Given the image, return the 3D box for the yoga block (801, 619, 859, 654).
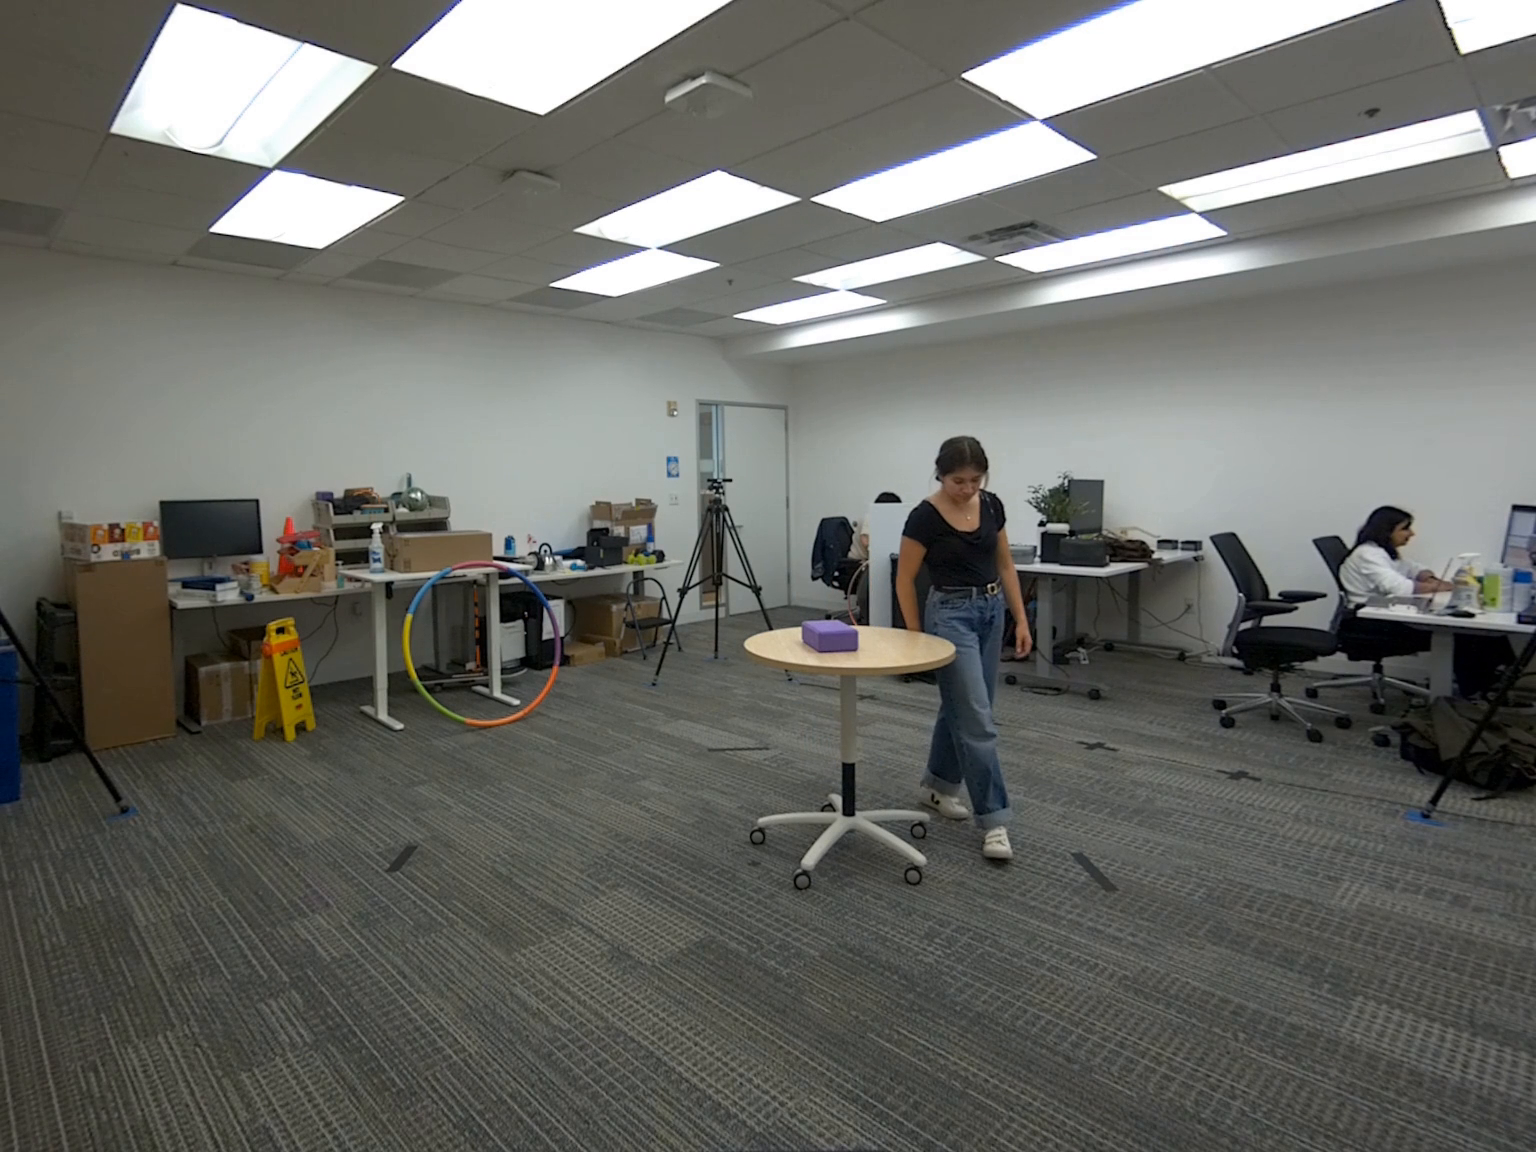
[{"bbox_3d":[0.228,0.220,3.105,0.148,0.076,0.232,-2,6,-10],"label":"yoga block"}]
